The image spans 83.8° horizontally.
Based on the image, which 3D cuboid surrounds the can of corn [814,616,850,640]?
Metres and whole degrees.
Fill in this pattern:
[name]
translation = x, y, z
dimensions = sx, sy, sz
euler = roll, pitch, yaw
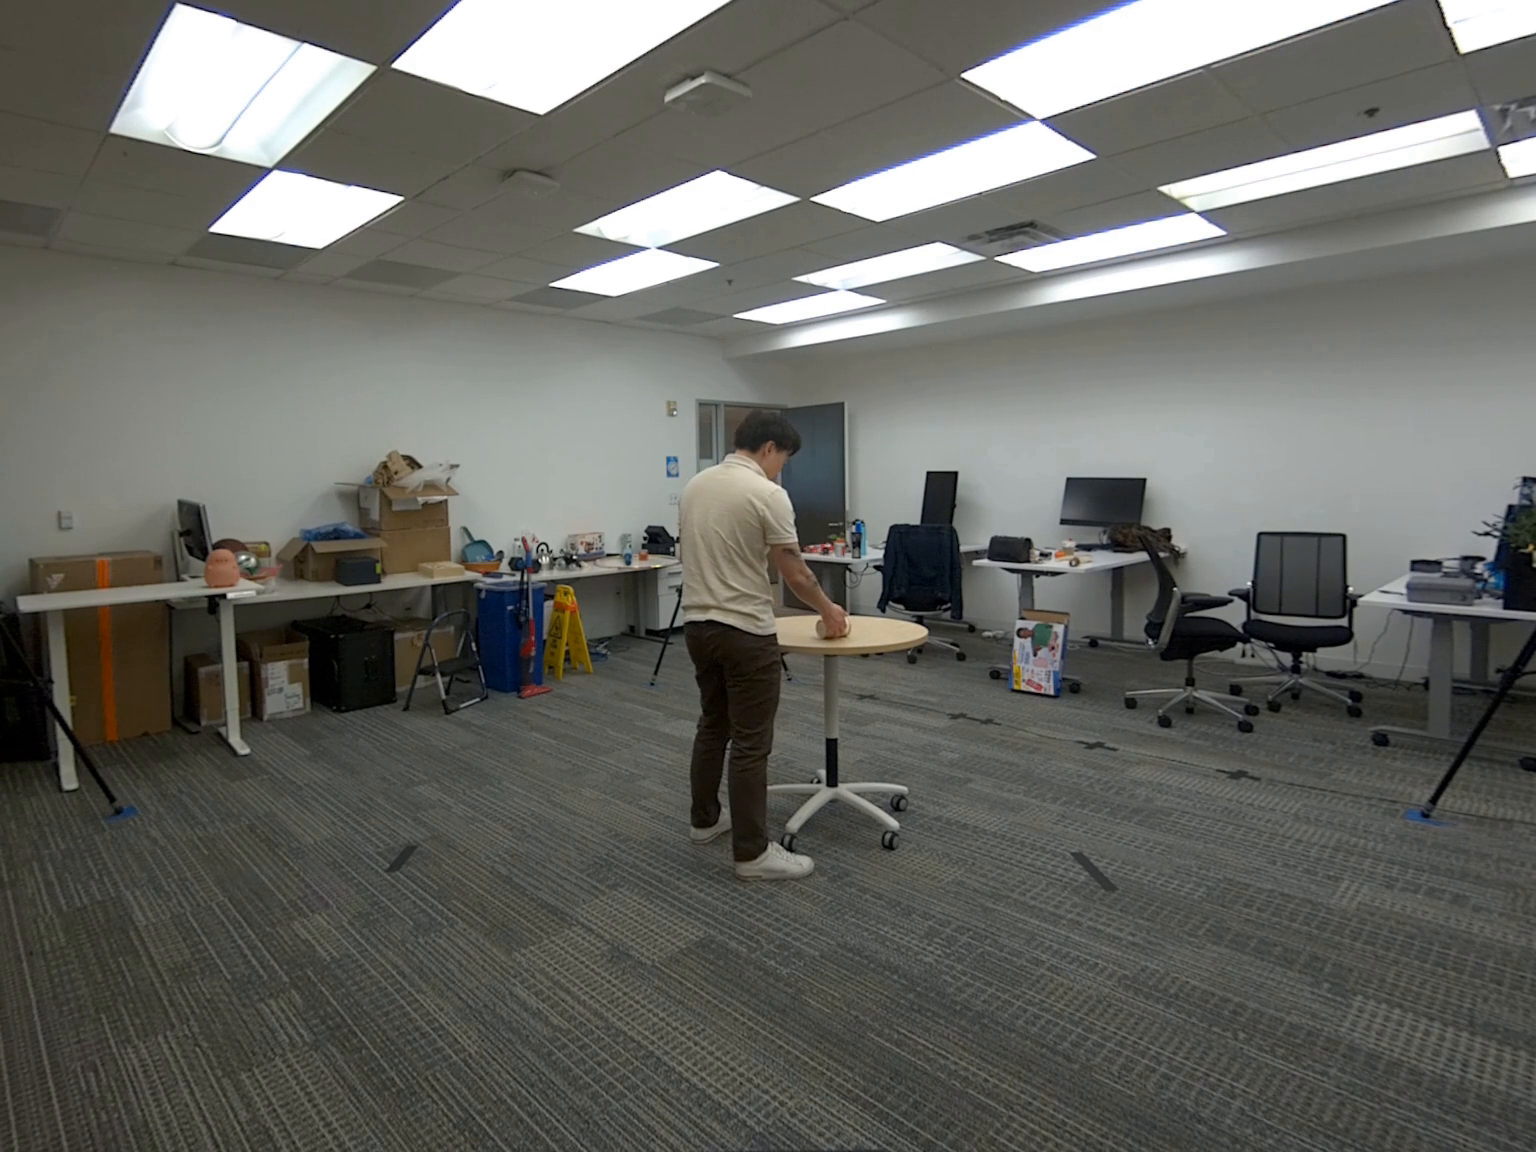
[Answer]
[can of corn]
translation = 0.255, 0.197, 3.268
dimensions = 0.109, 0.074, 0.076
euler = -4, 6, -22
